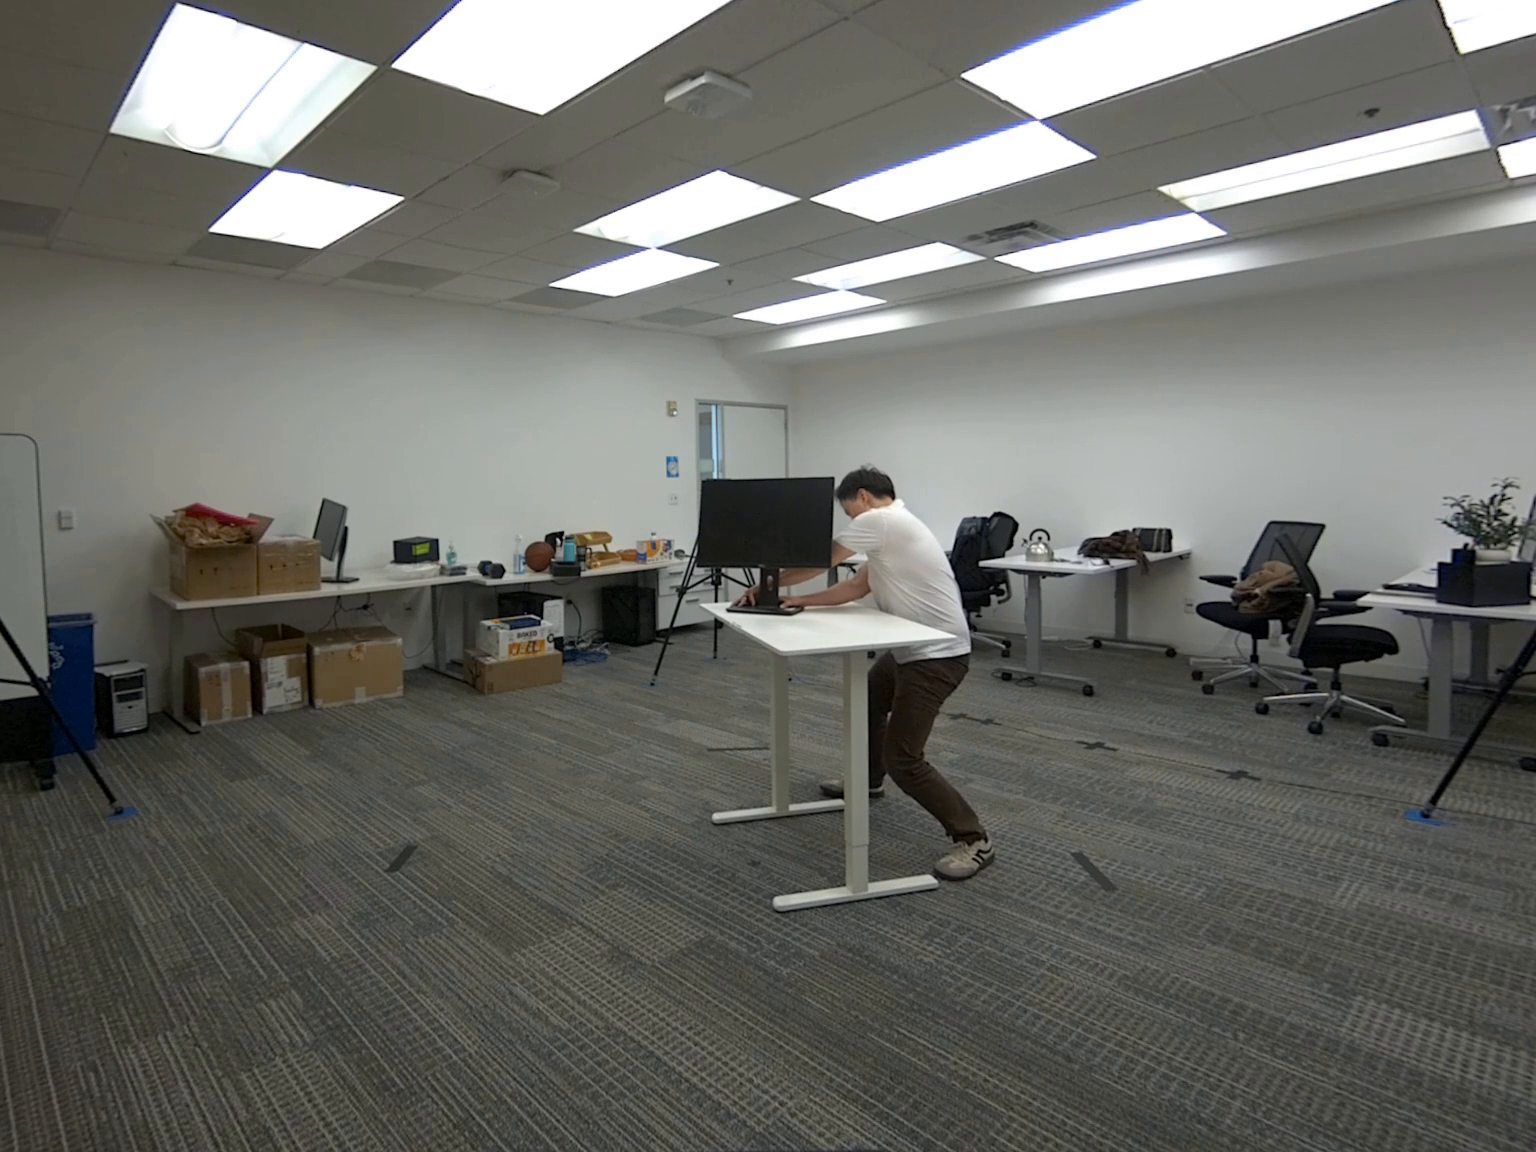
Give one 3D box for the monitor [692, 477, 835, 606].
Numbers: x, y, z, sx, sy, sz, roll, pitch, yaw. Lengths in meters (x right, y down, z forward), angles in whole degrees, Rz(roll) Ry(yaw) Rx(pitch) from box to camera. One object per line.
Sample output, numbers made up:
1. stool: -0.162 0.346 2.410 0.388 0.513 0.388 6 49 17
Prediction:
1. monitor: -0.006 -0.121 3.317 0.548 0.521 0.184 1 2 18
